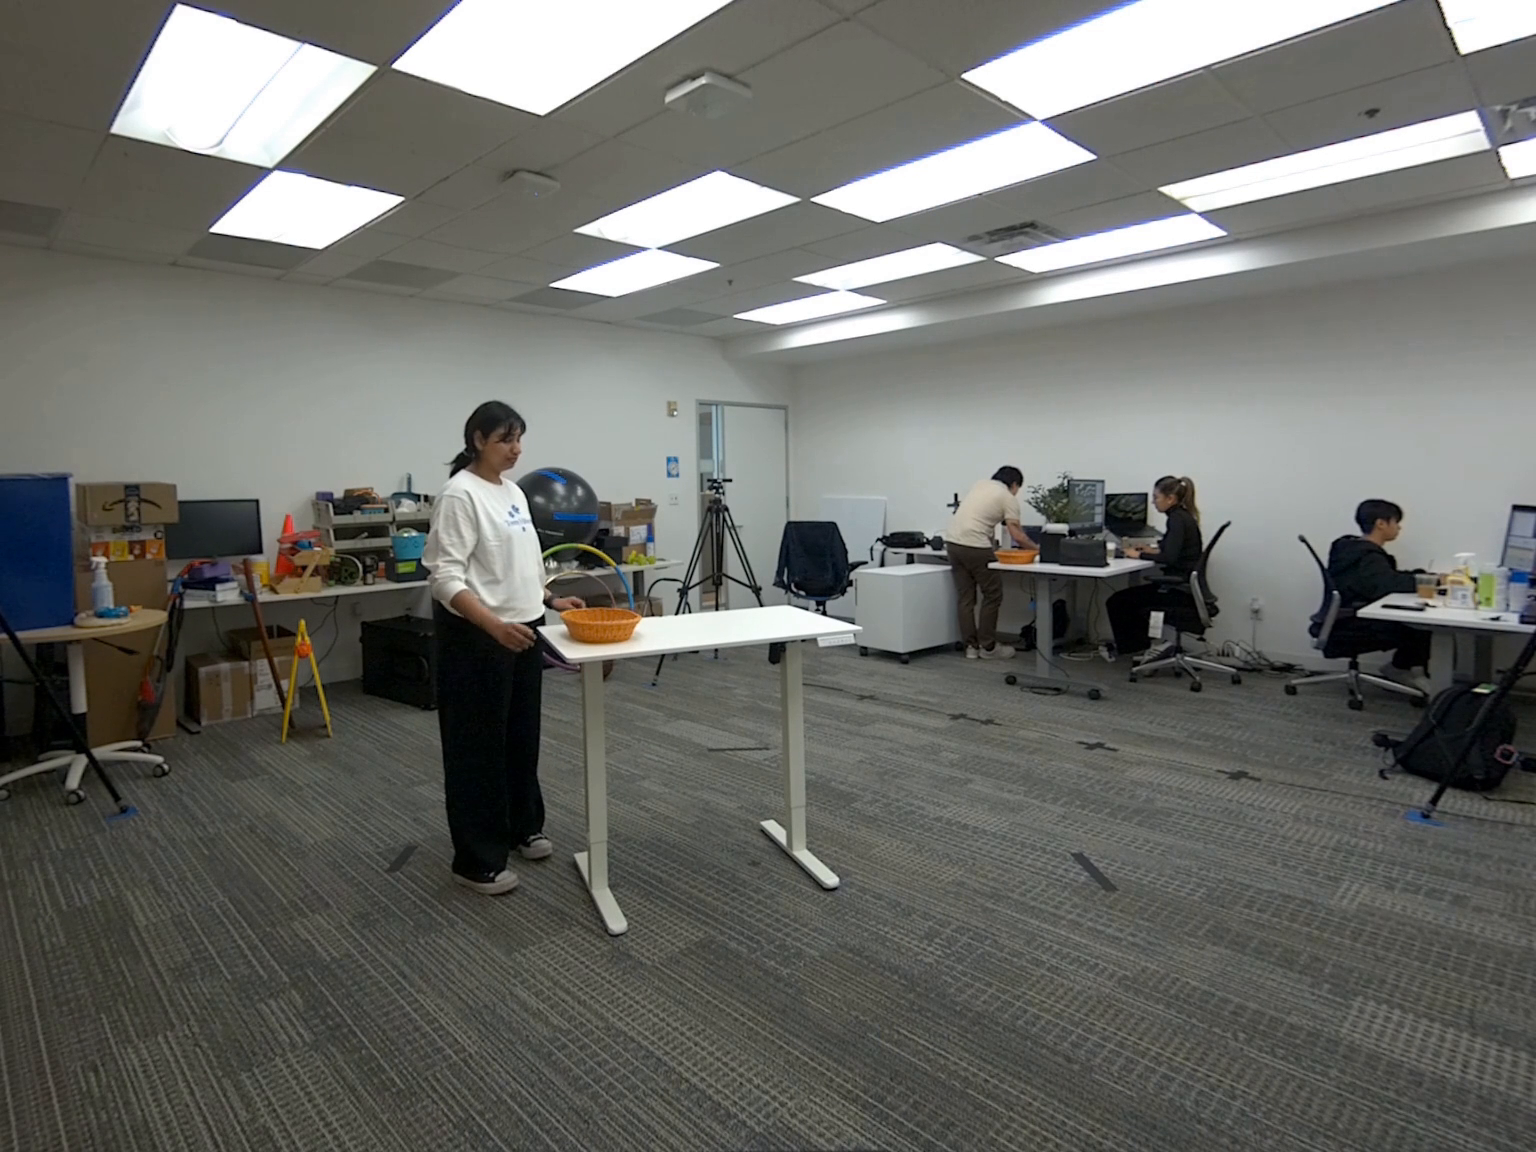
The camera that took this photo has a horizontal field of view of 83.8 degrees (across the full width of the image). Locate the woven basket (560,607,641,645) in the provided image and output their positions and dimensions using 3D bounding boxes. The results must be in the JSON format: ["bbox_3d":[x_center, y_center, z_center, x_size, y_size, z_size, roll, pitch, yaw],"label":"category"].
[{"bbox_3d":[-0.580,0.172,2.855,0.248,0.073,0.357,-1,6,-18],"label":"woven basket"}]
